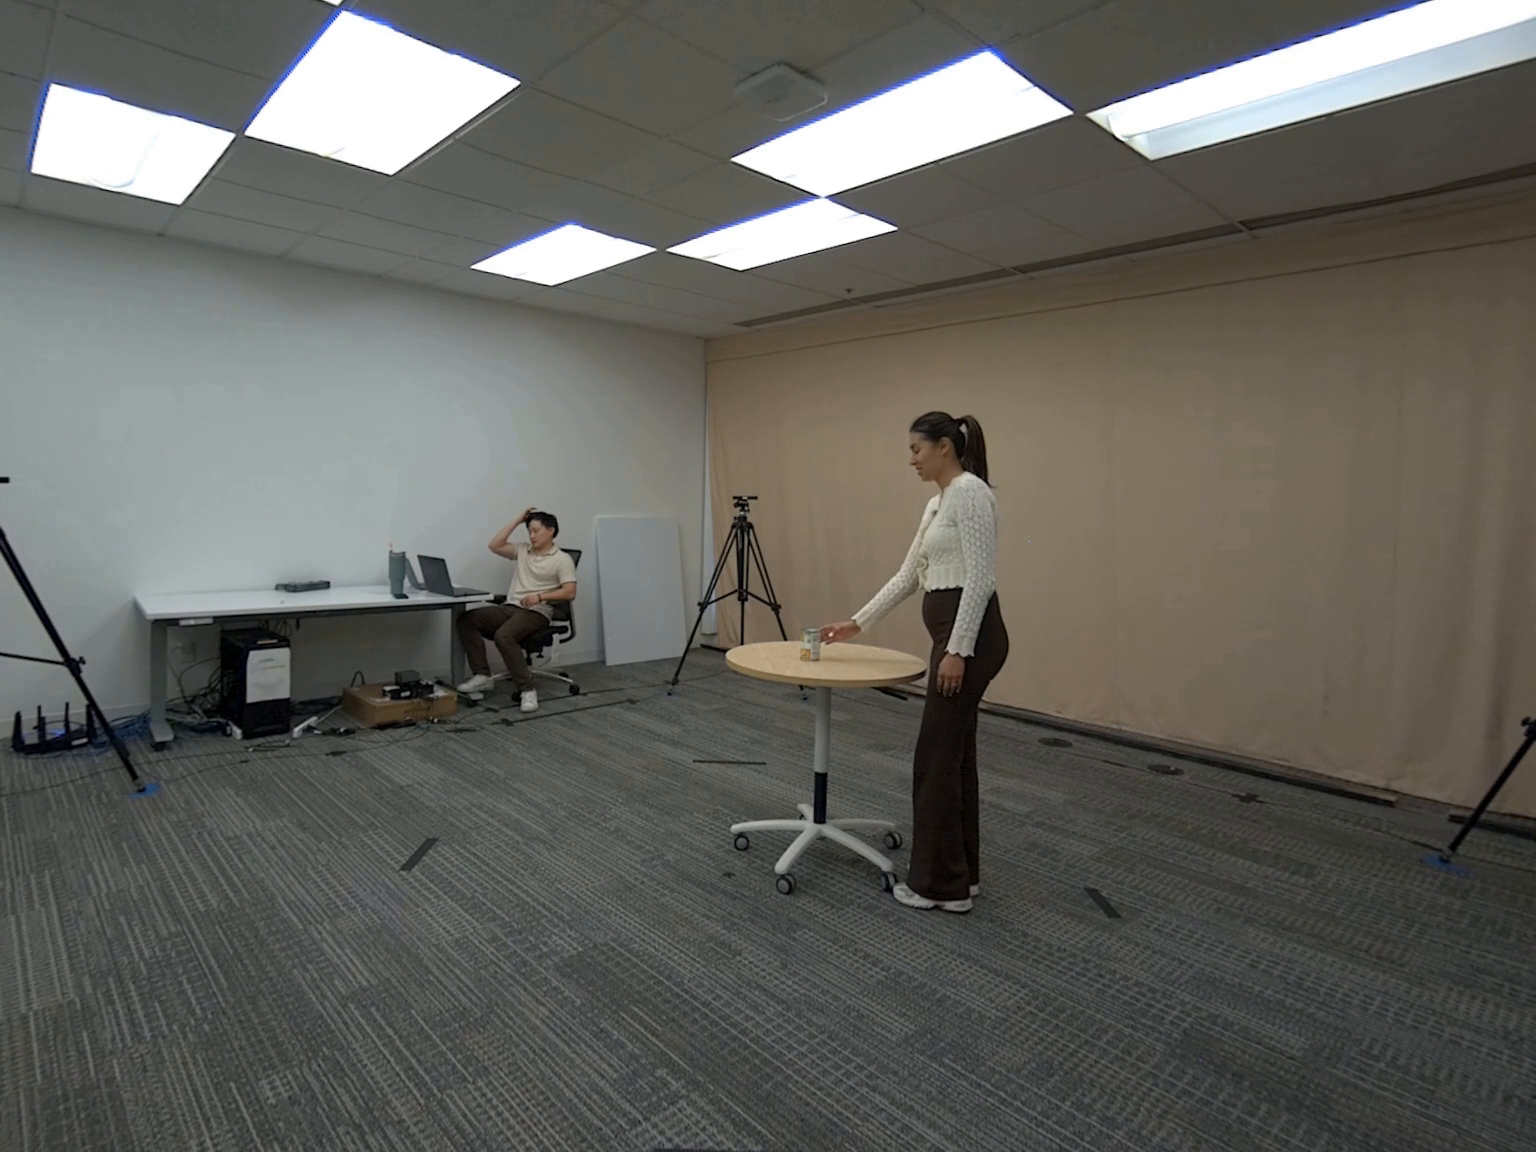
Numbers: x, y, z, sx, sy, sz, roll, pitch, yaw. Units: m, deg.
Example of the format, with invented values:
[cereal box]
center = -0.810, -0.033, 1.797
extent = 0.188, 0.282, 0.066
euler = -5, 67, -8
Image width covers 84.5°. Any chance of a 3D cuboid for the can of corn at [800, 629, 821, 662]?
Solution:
[can of corn]
center = 0.161, 0.261, 3.195
extent = 0.074, 0.110, 0.074
euler = 2, 5, -2
